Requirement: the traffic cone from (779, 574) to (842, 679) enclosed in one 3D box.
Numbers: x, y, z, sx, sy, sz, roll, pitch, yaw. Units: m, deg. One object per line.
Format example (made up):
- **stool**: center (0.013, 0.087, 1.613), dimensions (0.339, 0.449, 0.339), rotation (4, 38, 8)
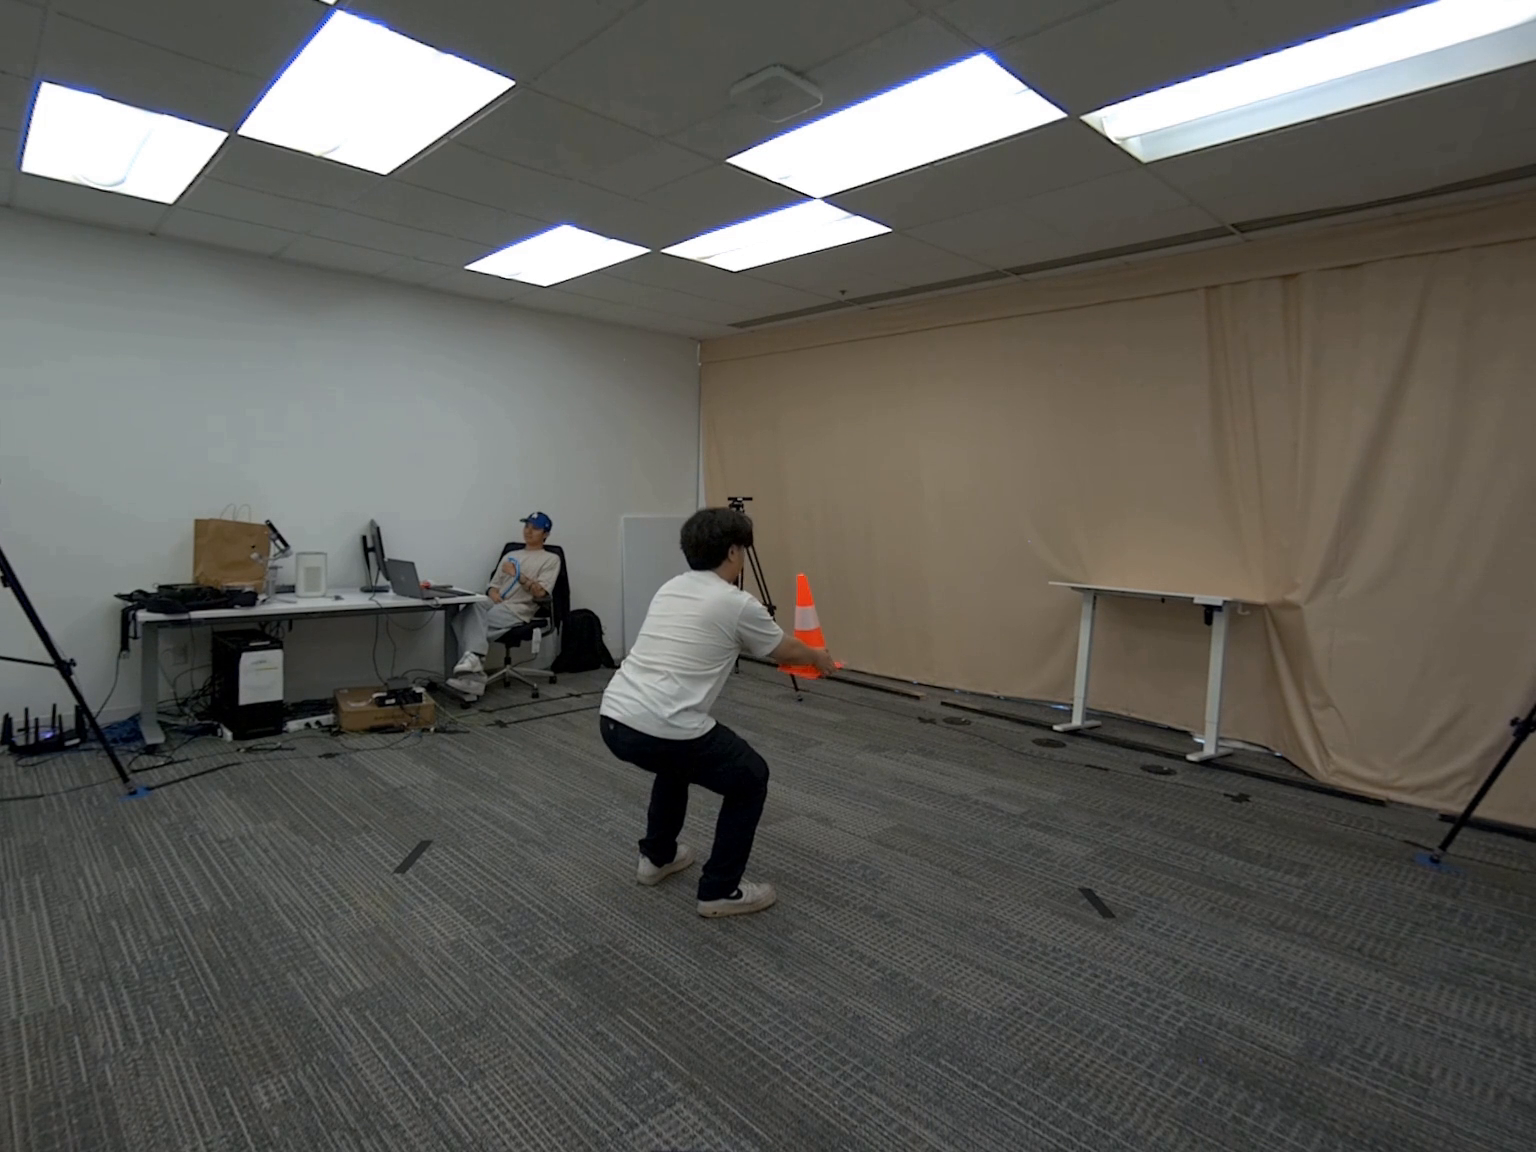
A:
- **traffic cone**: center (0.141, 0.185, 3.347), dimensions (0.209, 0.381, 0.200), rotation (2, 9, 31)
